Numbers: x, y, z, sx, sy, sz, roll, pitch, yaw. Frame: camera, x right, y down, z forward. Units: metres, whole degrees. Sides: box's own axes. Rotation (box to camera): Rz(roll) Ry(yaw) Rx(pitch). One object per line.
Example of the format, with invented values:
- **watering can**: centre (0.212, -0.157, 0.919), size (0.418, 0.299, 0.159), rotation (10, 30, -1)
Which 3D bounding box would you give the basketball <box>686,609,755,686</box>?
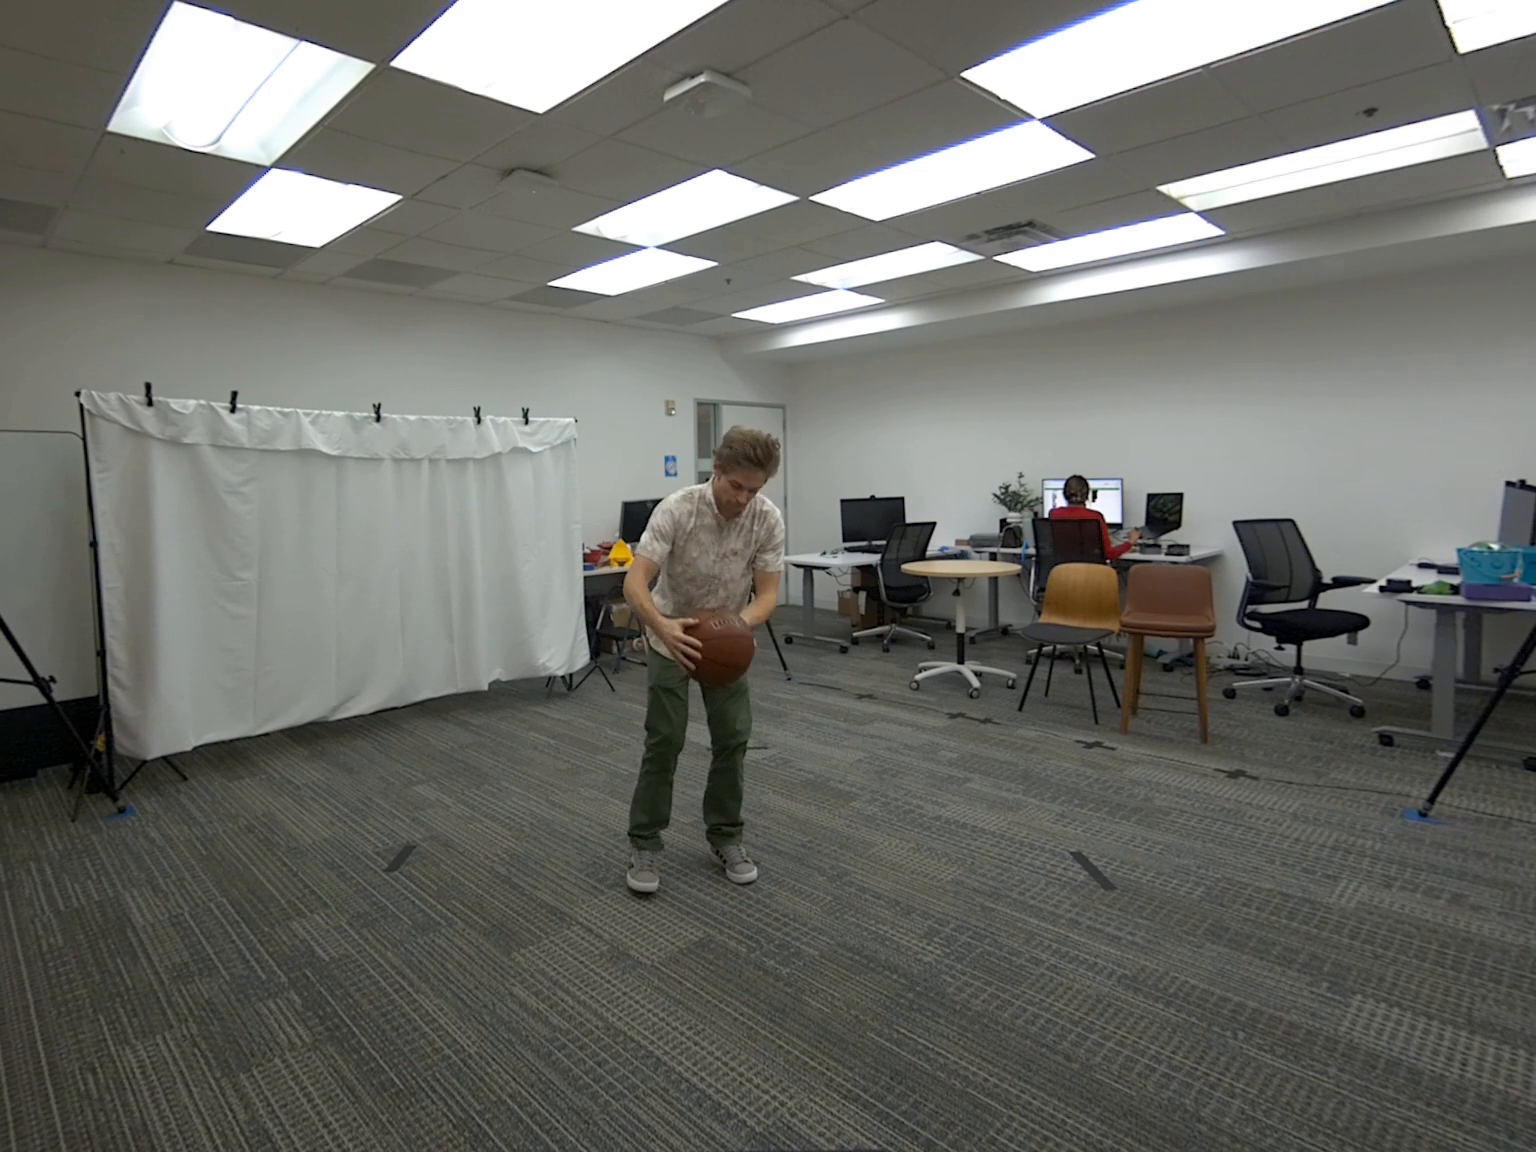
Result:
- **basketball**: centre (-0.164, 0.218, 2.607), size (0.236, 0.235, 0.237), rotation (-1, 5, -2)
